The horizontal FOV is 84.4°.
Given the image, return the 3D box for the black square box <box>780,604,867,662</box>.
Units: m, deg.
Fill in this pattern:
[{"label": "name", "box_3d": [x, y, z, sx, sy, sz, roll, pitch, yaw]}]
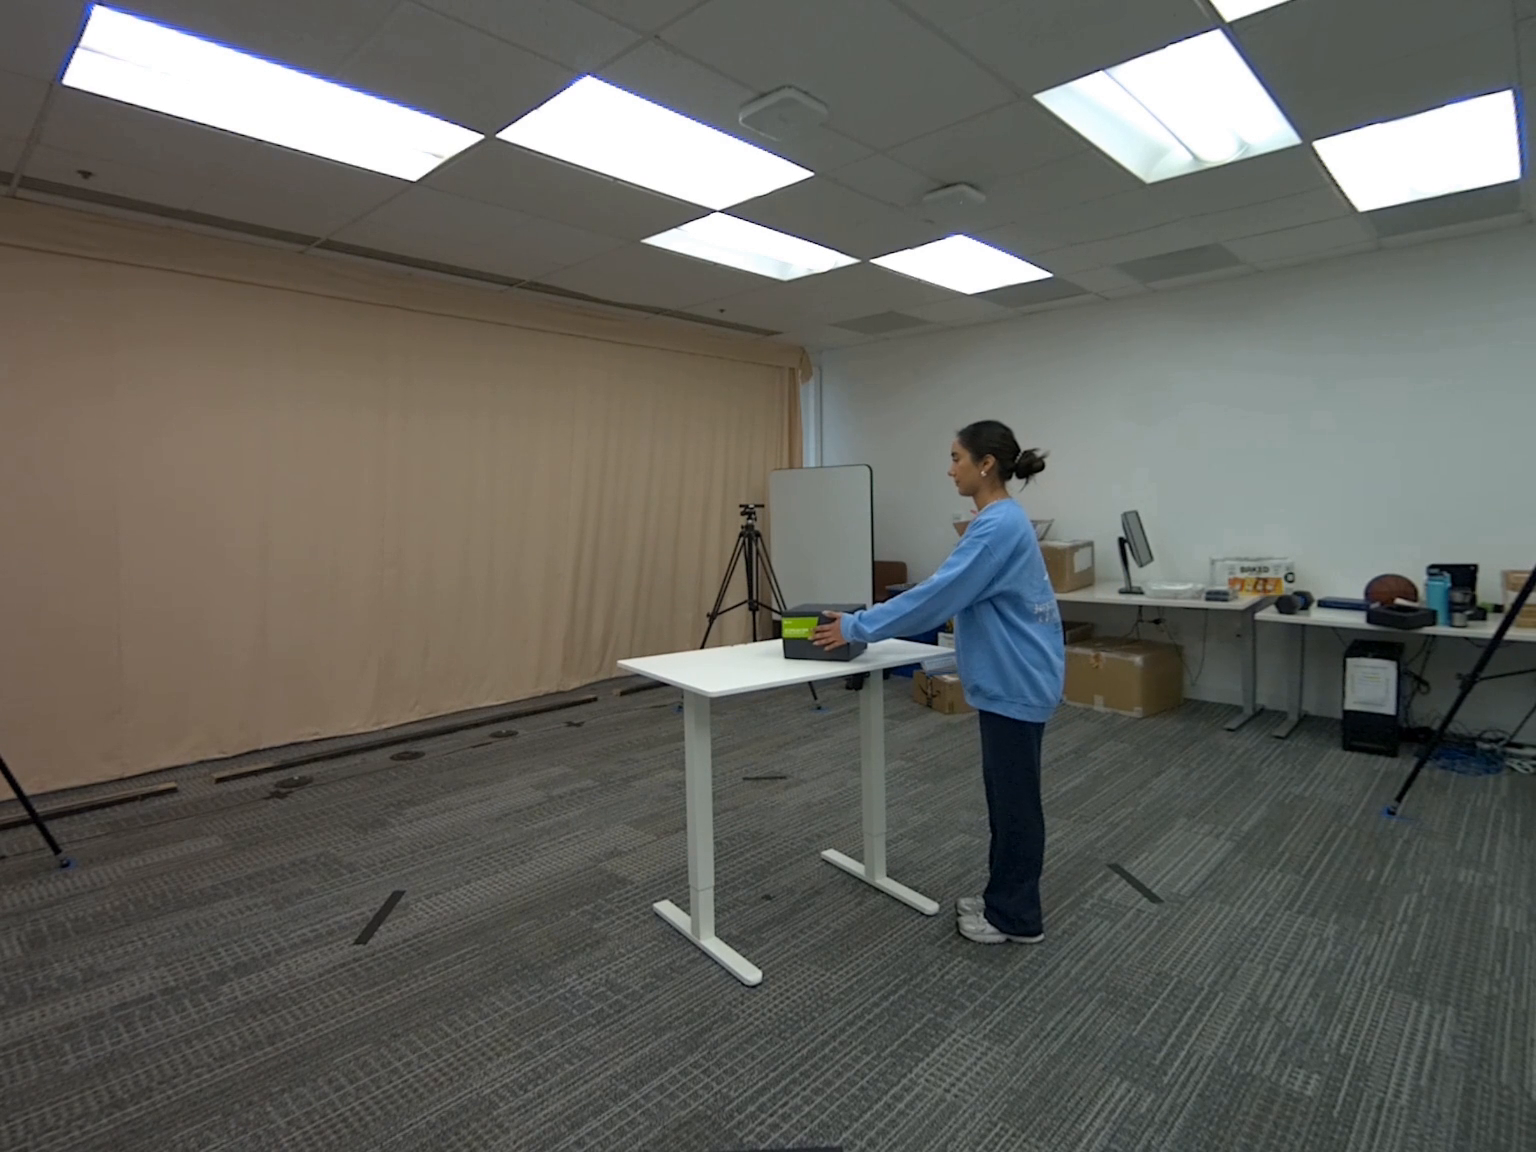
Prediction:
[{"label": "black square box", "box_3d": [0.193, 0.182, 2.830, 0.233, 0.155, 0.212, 0, 4, 25]}]
